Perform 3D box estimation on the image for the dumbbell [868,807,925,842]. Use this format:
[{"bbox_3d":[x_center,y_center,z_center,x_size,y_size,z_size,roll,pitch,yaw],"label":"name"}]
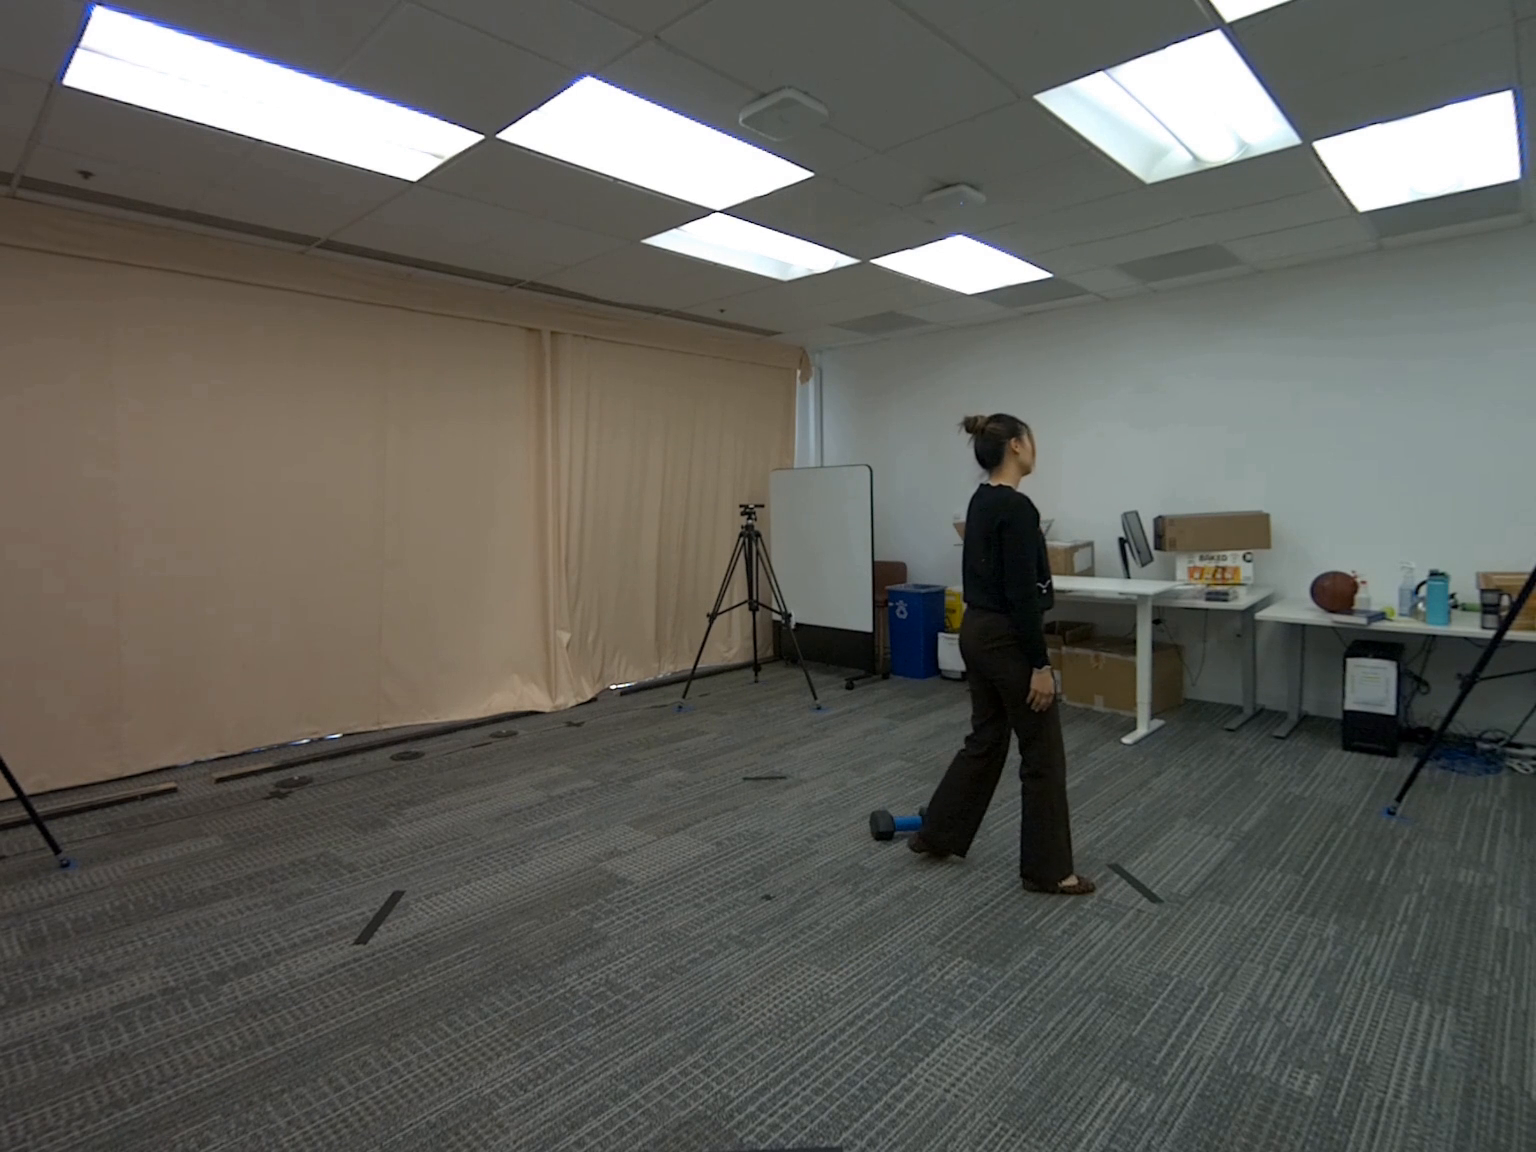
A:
[{"bbox_3d":[0.581,1.034,3.510,0.291,0.125,0.108,-2,-24,-9],"label":"dumbbell"}]
